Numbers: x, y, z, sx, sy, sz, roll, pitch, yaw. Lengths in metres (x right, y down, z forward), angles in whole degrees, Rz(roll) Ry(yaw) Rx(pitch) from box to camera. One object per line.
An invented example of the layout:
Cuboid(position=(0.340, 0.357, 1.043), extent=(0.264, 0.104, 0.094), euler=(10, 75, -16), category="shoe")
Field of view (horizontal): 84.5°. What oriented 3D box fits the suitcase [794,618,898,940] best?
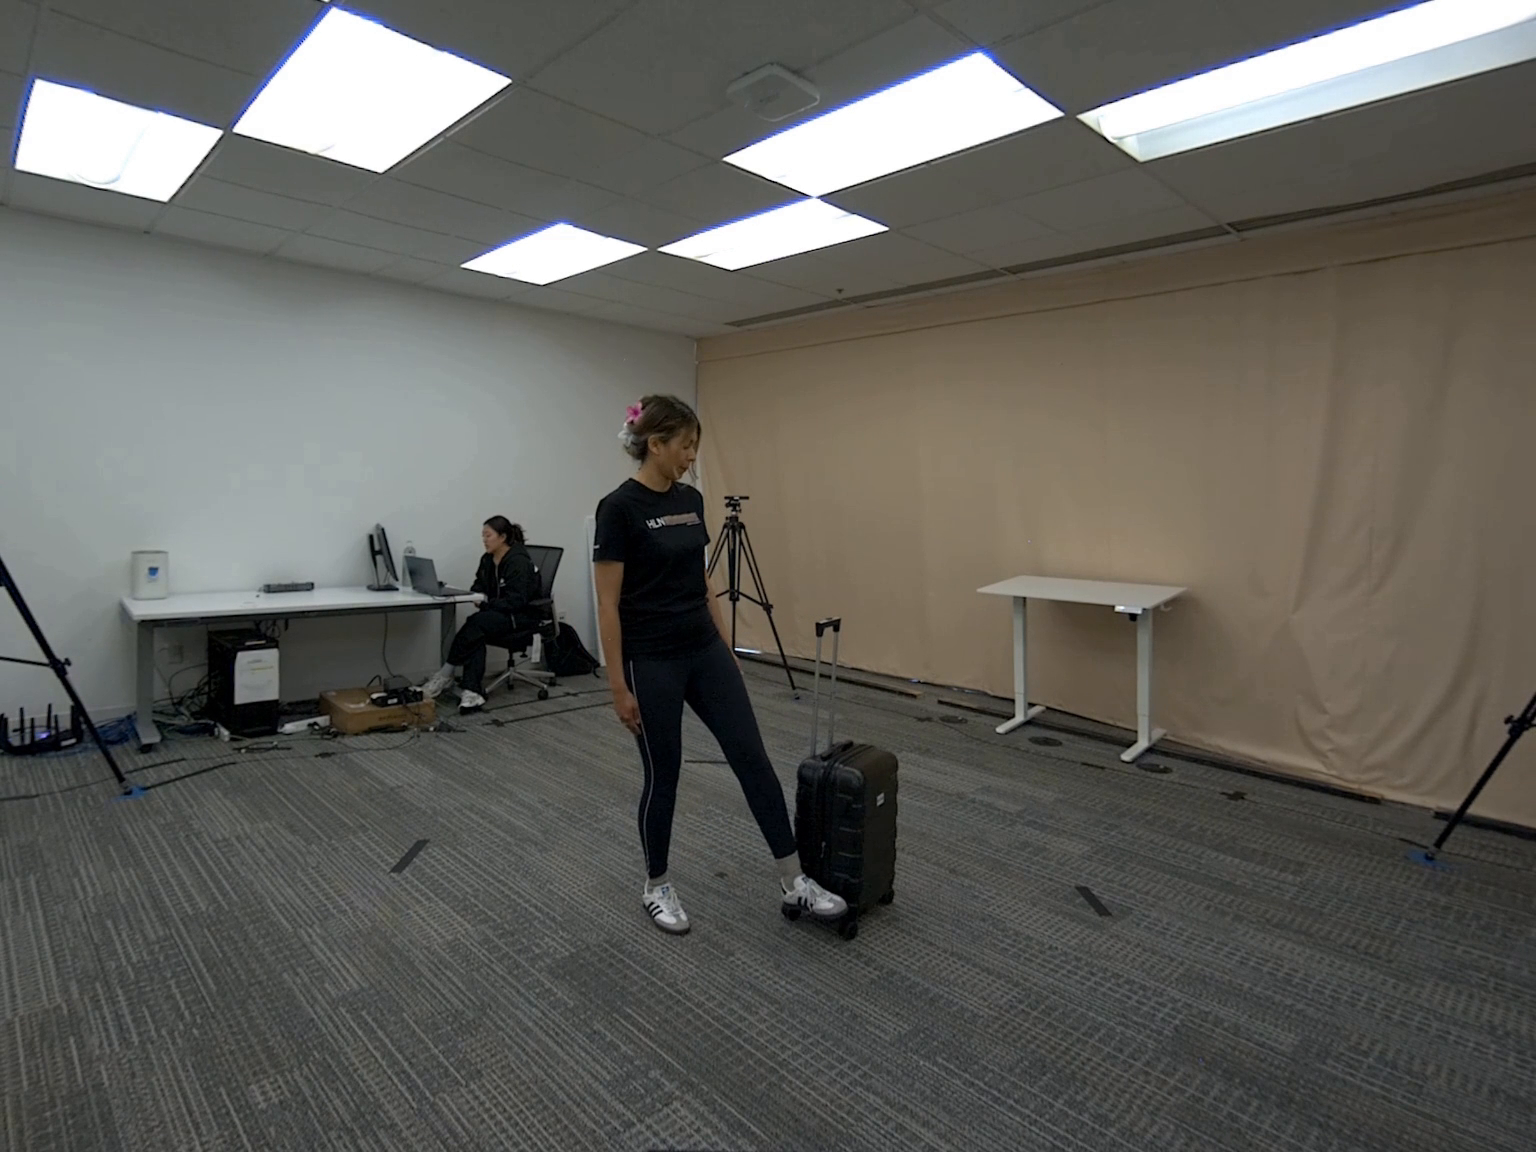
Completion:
Cuboid(position=(0.275, 0.659, 2.851), extent=(0.263, 0.977, 0.376), euler=(4, 2, 30), category="suitcase")
